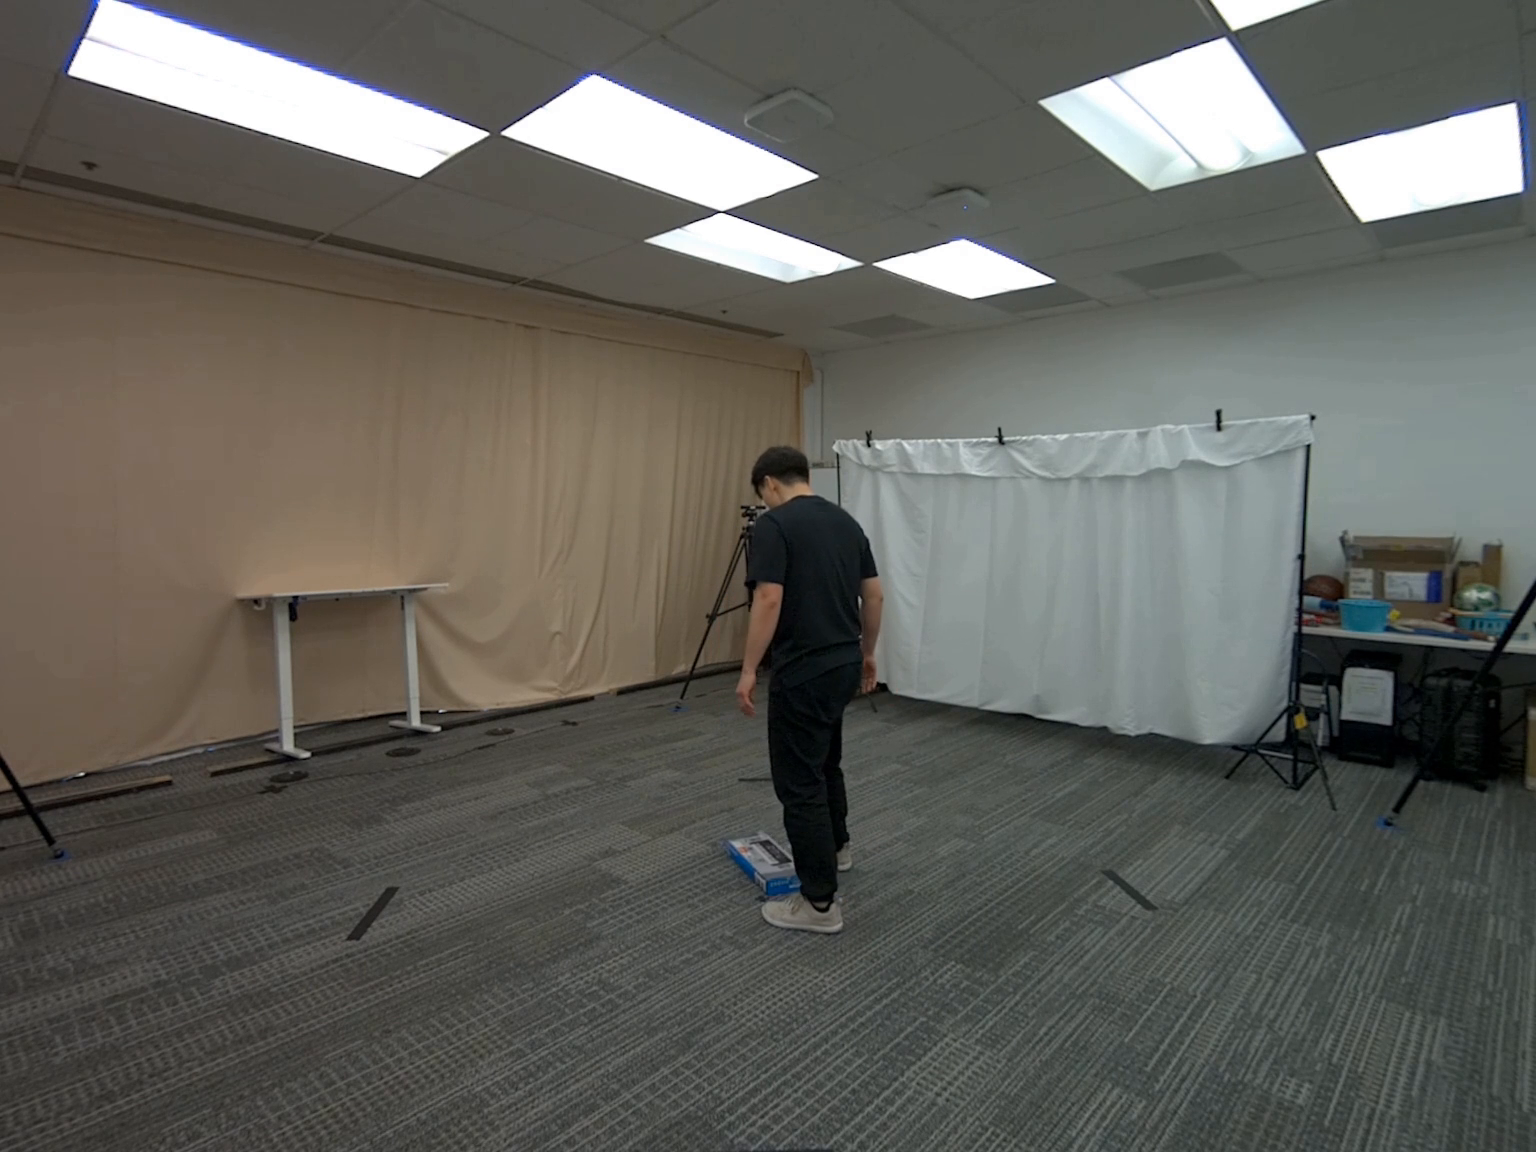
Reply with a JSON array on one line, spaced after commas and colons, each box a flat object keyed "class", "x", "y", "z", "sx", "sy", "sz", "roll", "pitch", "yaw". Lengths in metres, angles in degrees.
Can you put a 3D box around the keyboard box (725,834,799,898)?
[{"class": "keyboard box", "x": -0.001, "y": 1.091, "z": 3.230, "sx": 0.172, "sy": 0.059, "sz": 0.447, "roll": -3, "pitch": 6, "yaw": -23}]
